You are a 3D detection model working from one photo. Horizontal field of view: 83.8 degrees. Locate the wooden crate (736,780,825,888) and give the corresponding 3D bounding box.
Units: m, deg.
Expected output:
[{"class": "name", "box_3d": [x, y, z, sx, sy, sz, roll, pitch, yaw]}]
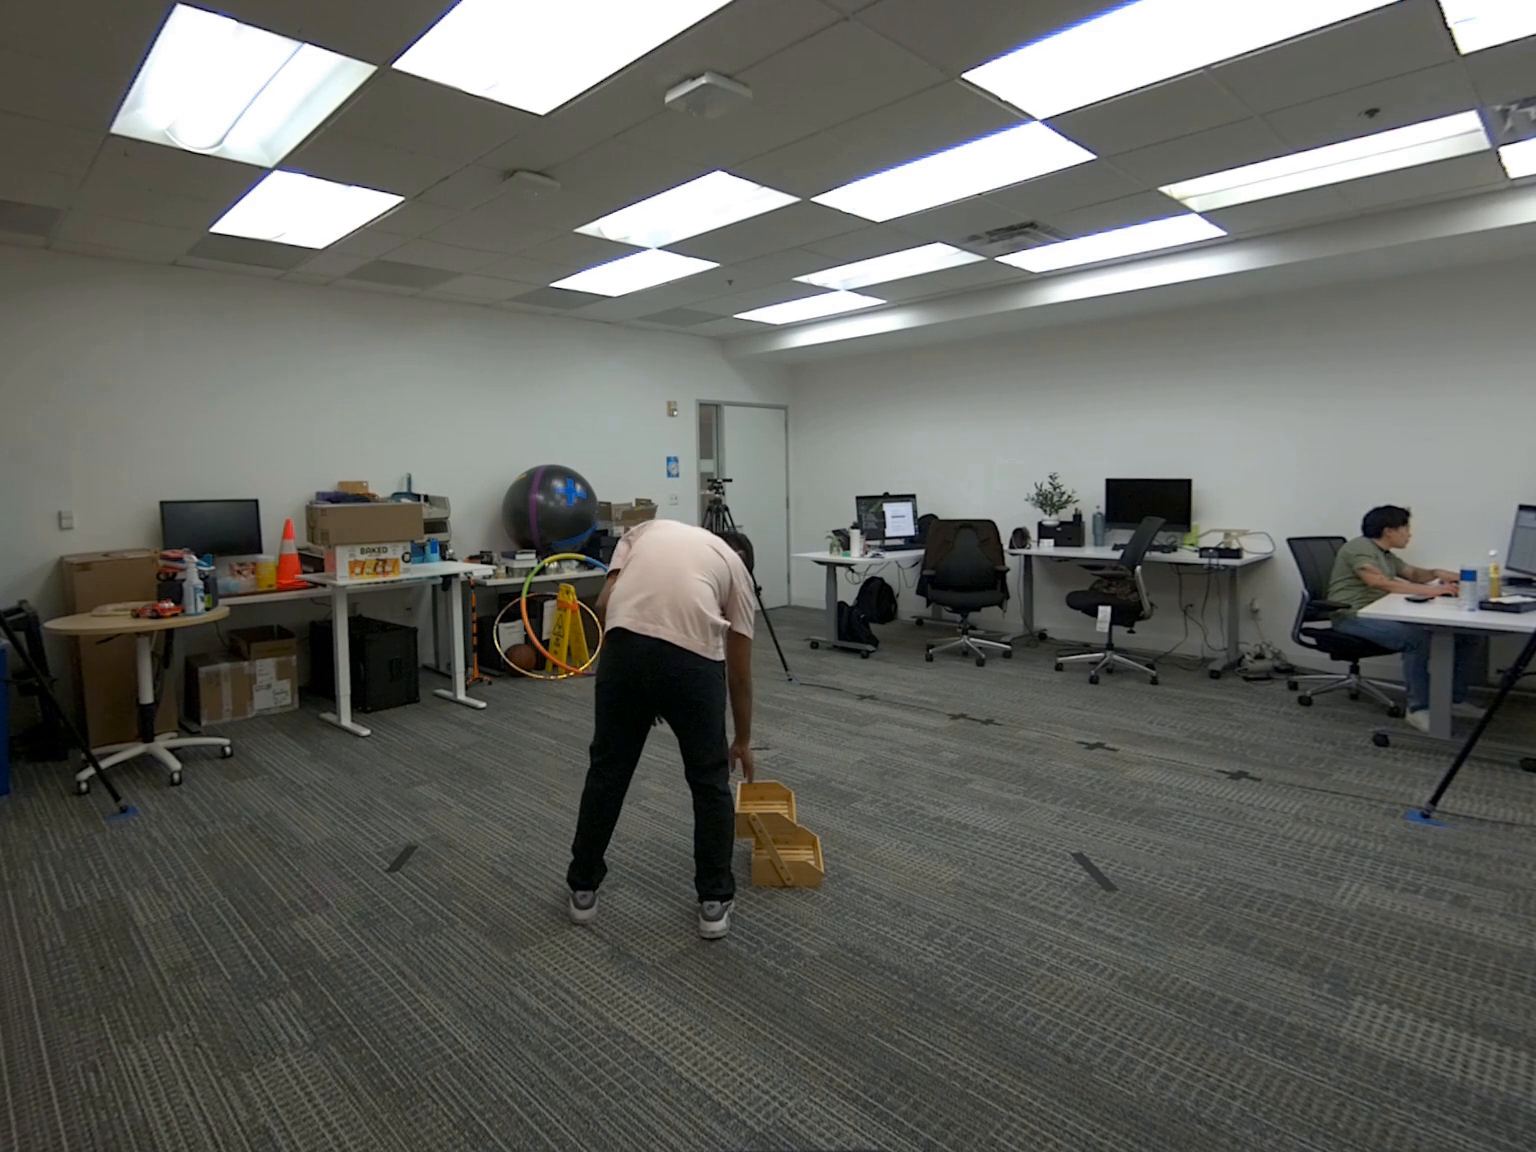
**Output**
[{"class": "wooden crate", "box_3d": [0.052, 0.916, 3.072, 0.302, 0.272, 0.325, -1, 5, 1]}]
